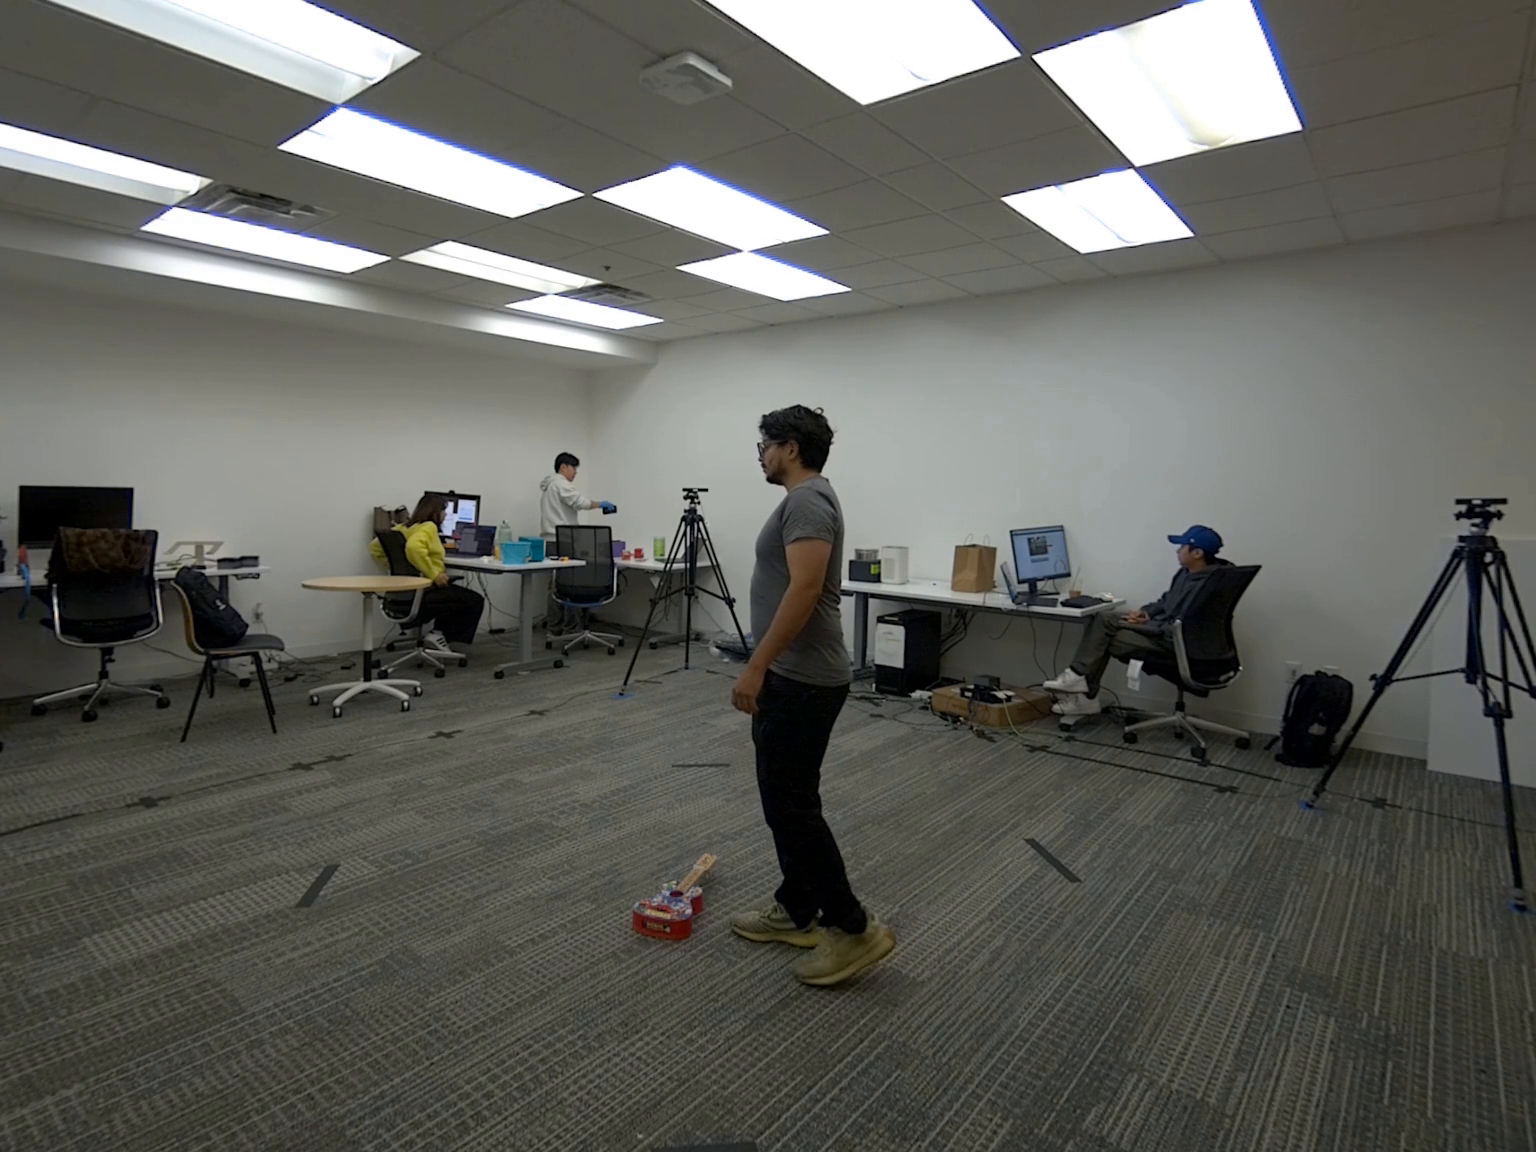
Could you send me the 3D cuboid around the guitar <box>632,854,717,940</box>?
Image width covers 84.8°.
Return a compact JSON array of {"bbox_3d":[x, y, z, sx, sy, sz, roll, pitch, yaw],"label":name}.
[{"bbox_3d":[-0.260,1.060,2.844,0.198,0.070,0.486,3,6,26],"label":"guitar"}]
